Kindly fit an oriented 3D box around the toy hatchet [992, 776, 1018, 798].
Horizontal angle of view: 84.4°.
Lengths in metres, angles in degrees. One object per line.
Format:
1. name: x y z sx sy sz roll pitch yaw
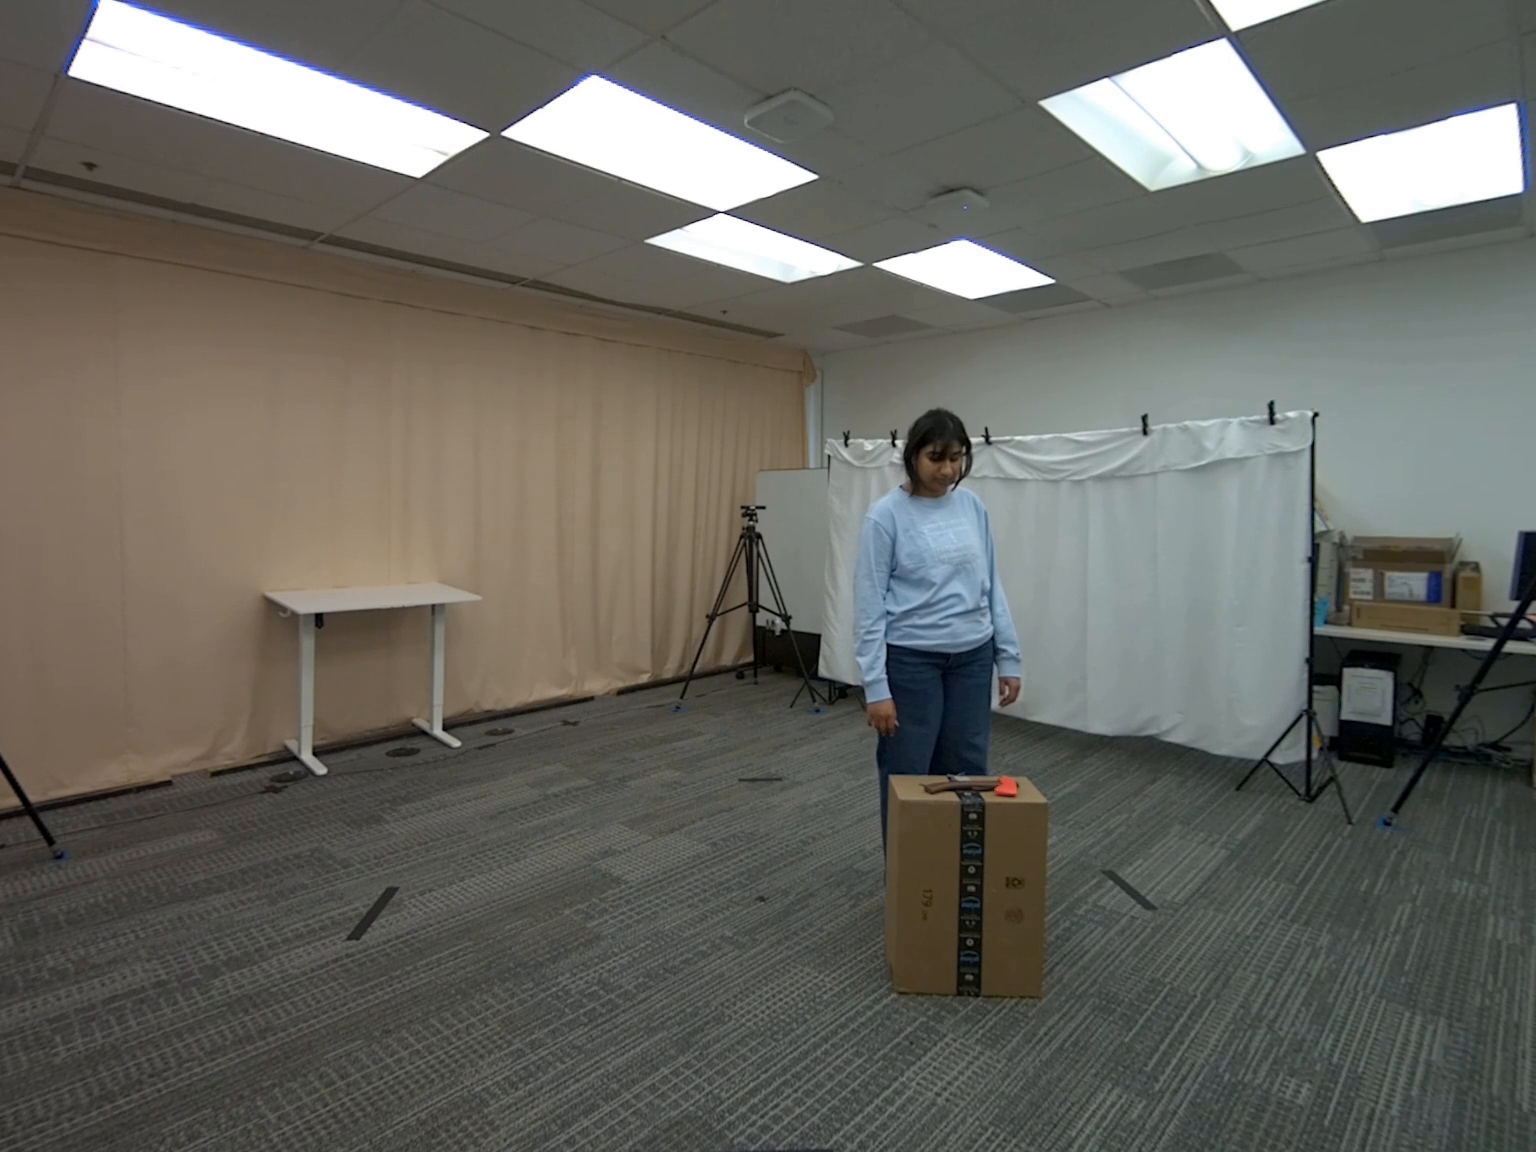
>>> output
1. toy hatchet: 0.583 0.610 2.417 0.266 0.029 0.134 -4 12 -15
